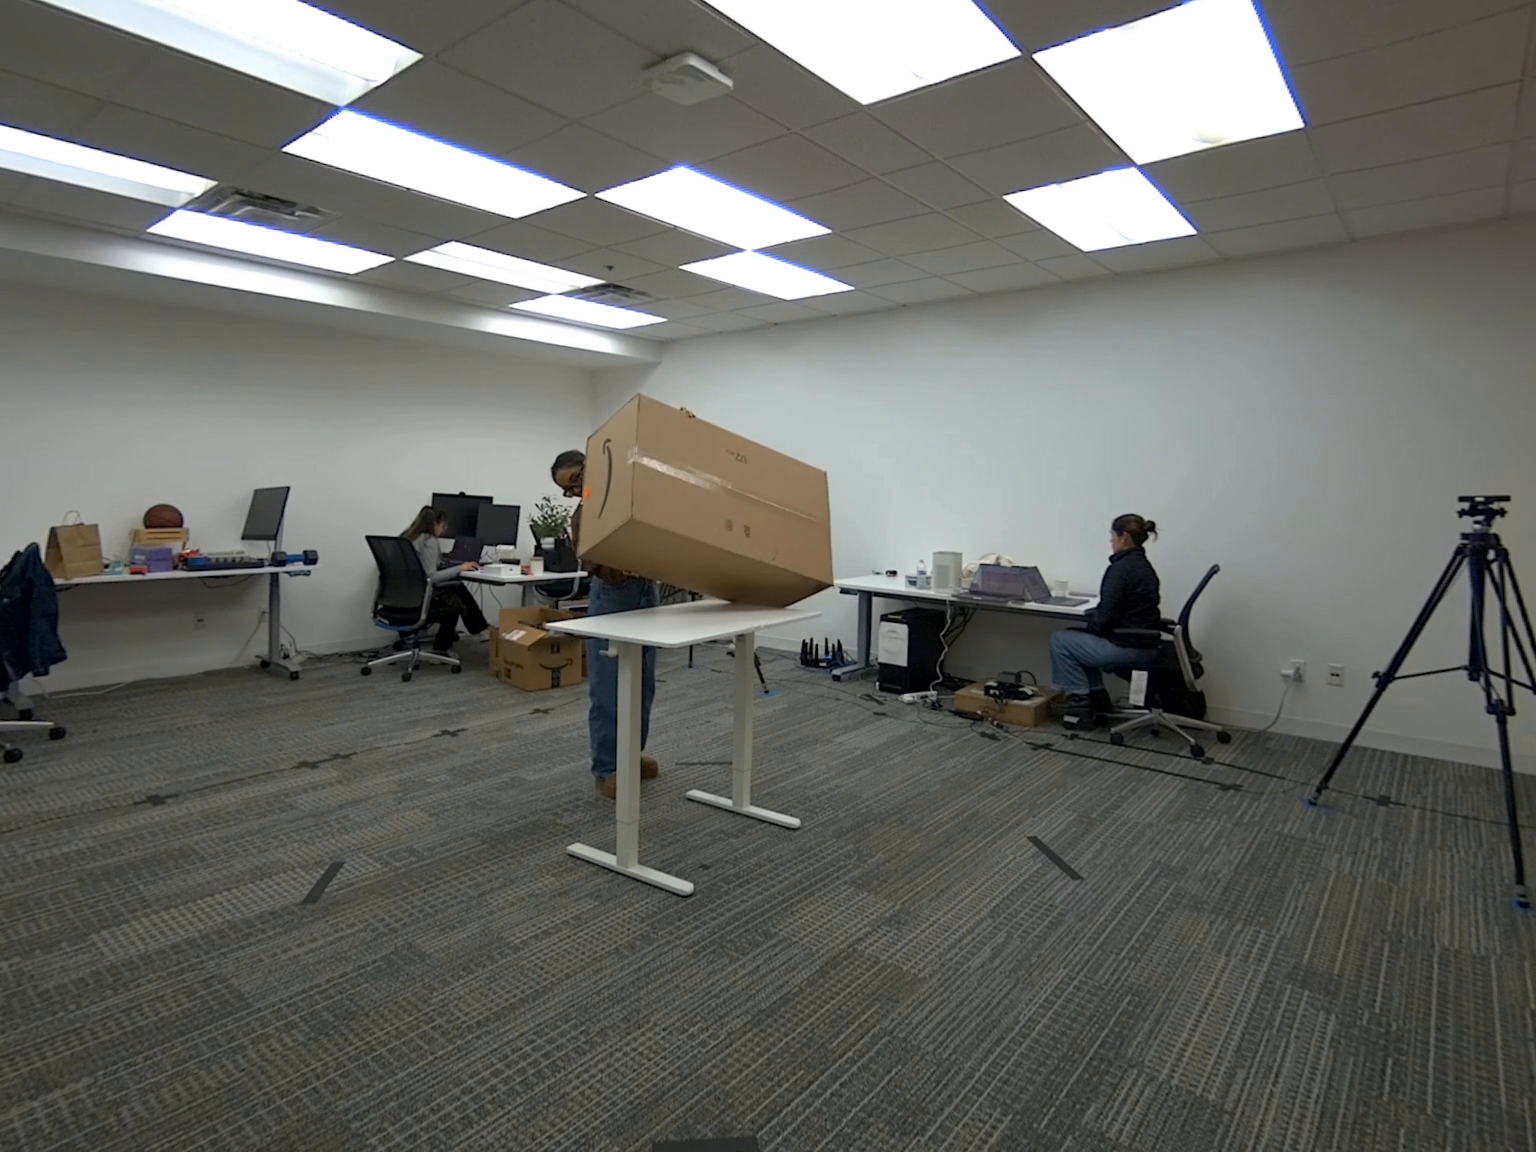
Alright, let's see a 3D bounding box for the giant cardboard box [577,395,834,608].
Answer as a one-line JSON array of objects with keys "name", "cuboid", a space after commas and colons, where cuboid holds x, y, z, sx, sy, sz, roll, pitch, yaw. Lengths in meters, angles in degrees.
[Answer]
[{"name": "giant cardboard box", "cuboid": [-0.257, -0.271, 3.661, 0.990, 0.591, 0.431, 18, -32, -34]}]
